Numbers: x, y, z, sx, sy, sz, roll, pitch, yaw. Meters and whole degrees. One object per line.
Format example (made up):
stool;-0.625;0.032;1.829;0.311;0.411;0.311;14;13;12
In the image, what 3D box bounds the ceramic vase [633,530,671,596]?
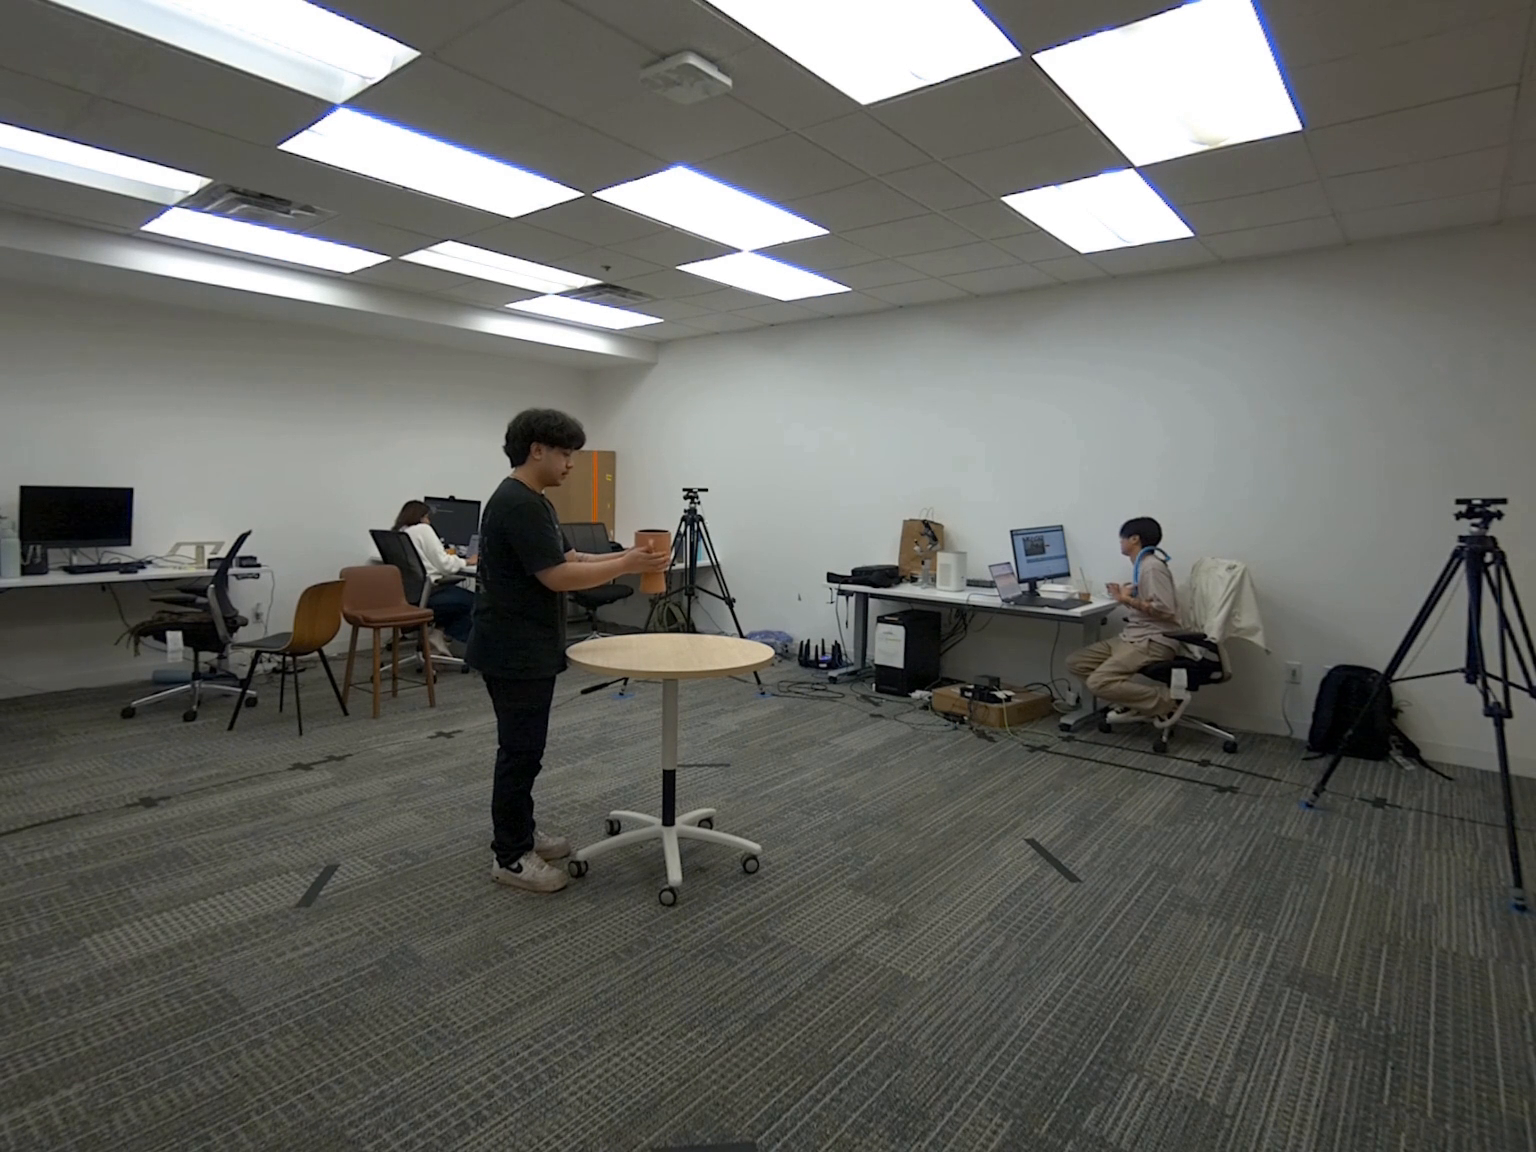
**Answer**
ceramic vase;-0.437;-0.055;3.098;0.139;0.219;0.154;4;6;35
